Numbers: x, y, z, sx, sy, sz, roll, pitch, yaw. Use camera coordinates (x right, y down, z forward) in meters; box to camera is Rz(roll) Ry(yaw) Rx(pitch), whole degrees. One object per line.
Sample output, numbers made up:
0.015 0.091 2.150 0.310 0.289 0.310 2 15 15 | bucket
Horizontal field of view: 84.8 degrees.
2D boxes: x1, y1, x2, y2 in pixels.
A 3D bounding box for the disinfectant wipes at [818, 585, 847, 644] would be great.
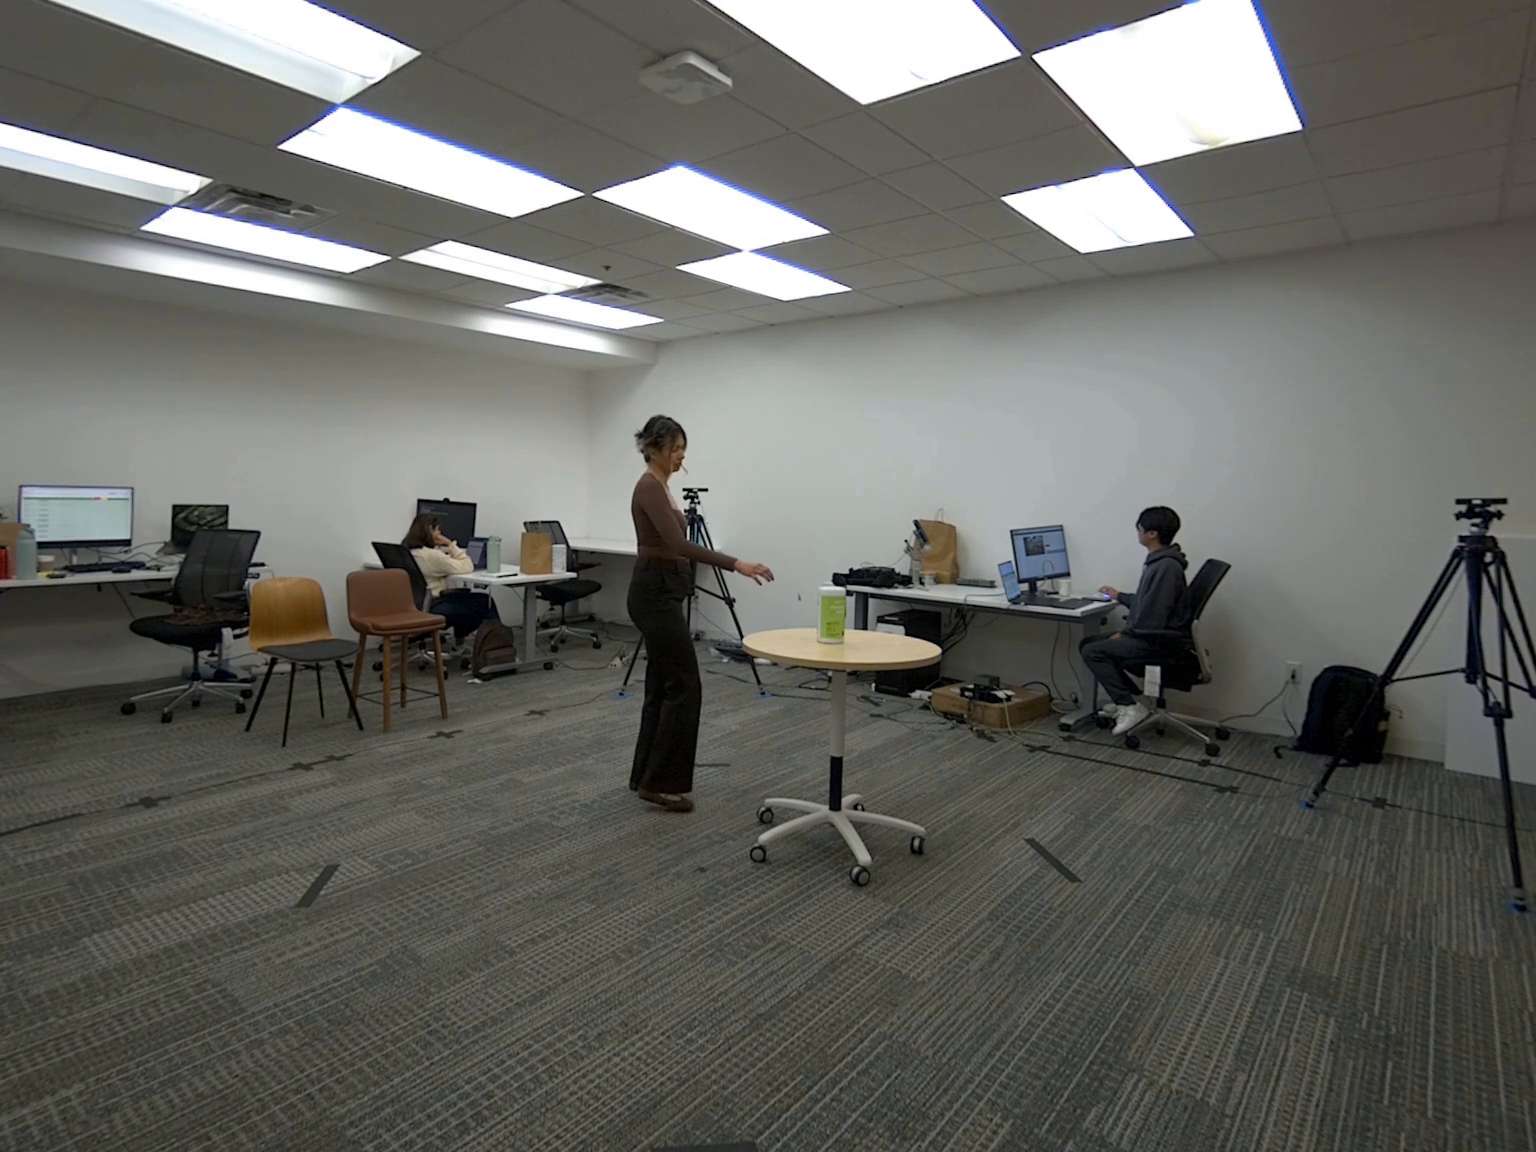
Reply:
0.241 0.152 3.360 0.117 0.216 0.118 1 4 -2 | disinfectant wipes
